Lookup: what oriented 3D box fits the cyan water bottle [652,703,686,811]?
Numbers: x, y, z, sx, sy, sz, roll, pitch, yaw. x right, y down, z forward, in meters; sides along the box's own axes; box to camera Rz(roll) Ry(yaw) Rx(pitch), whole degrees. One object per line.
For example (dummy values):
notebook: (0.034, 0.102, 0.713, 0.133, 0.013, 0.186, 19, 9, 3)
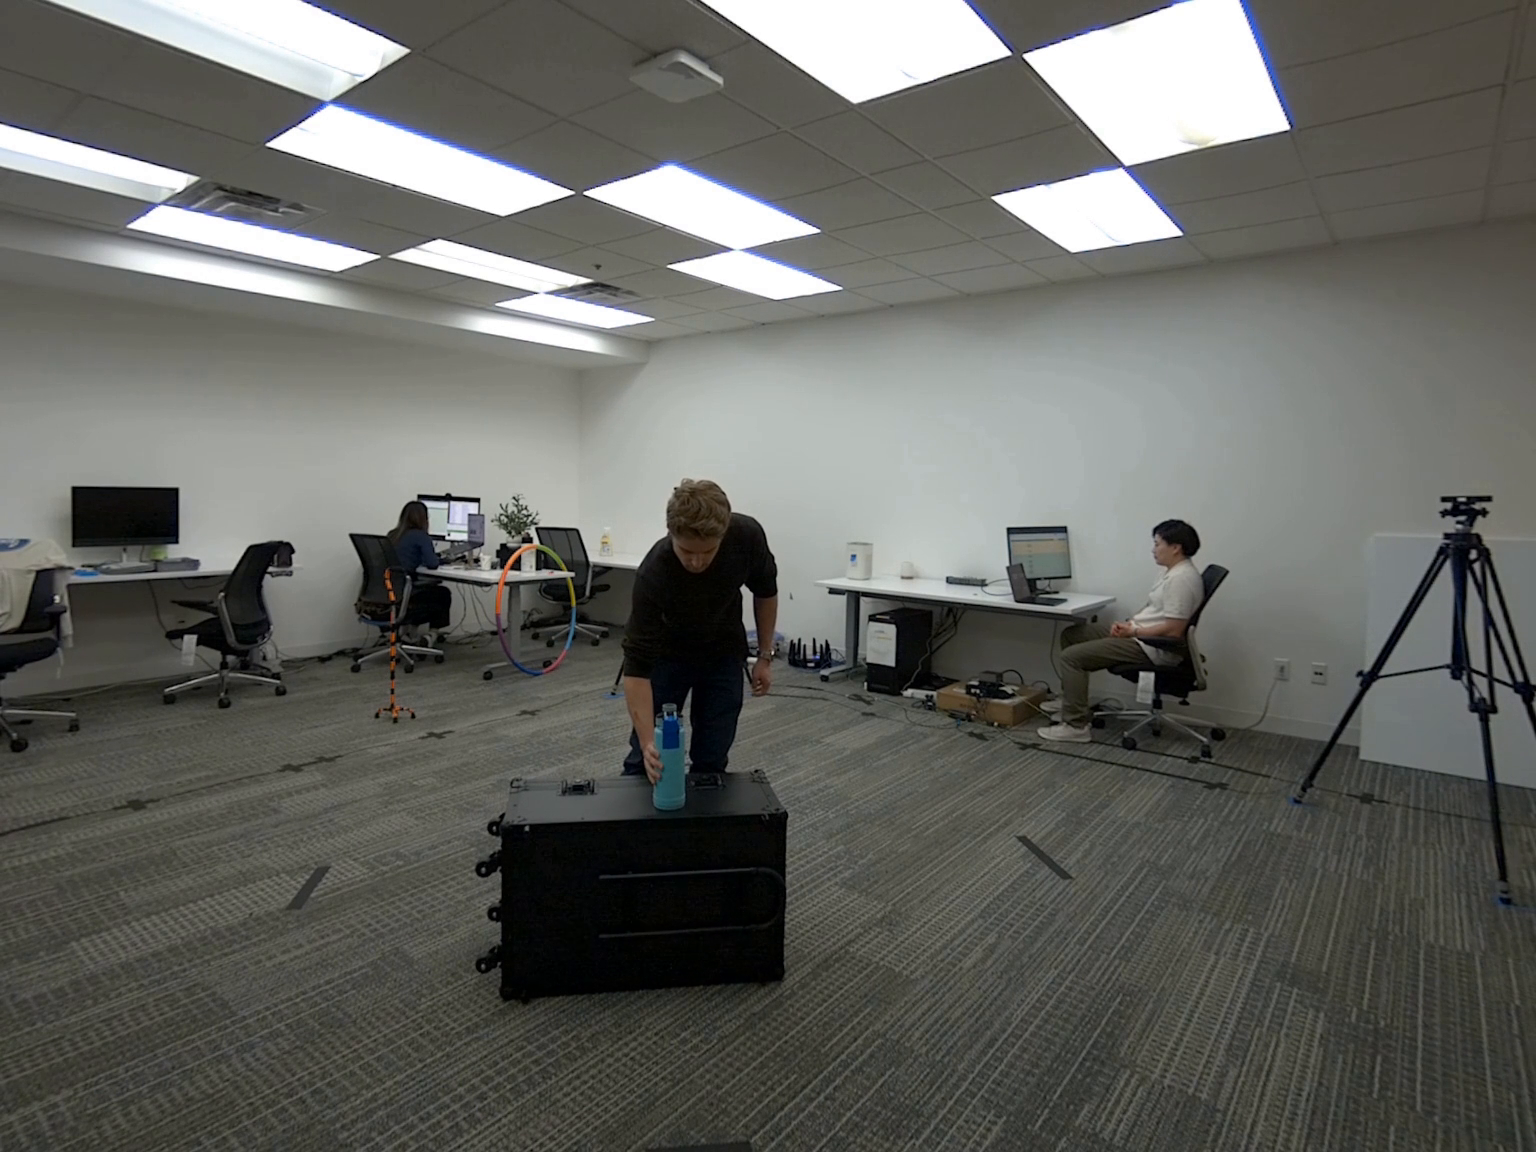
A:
cyan water bottle: (-0.290, 0.510, 2.423, 0.092, 0.282, 0.093, 1, 4, -2)
